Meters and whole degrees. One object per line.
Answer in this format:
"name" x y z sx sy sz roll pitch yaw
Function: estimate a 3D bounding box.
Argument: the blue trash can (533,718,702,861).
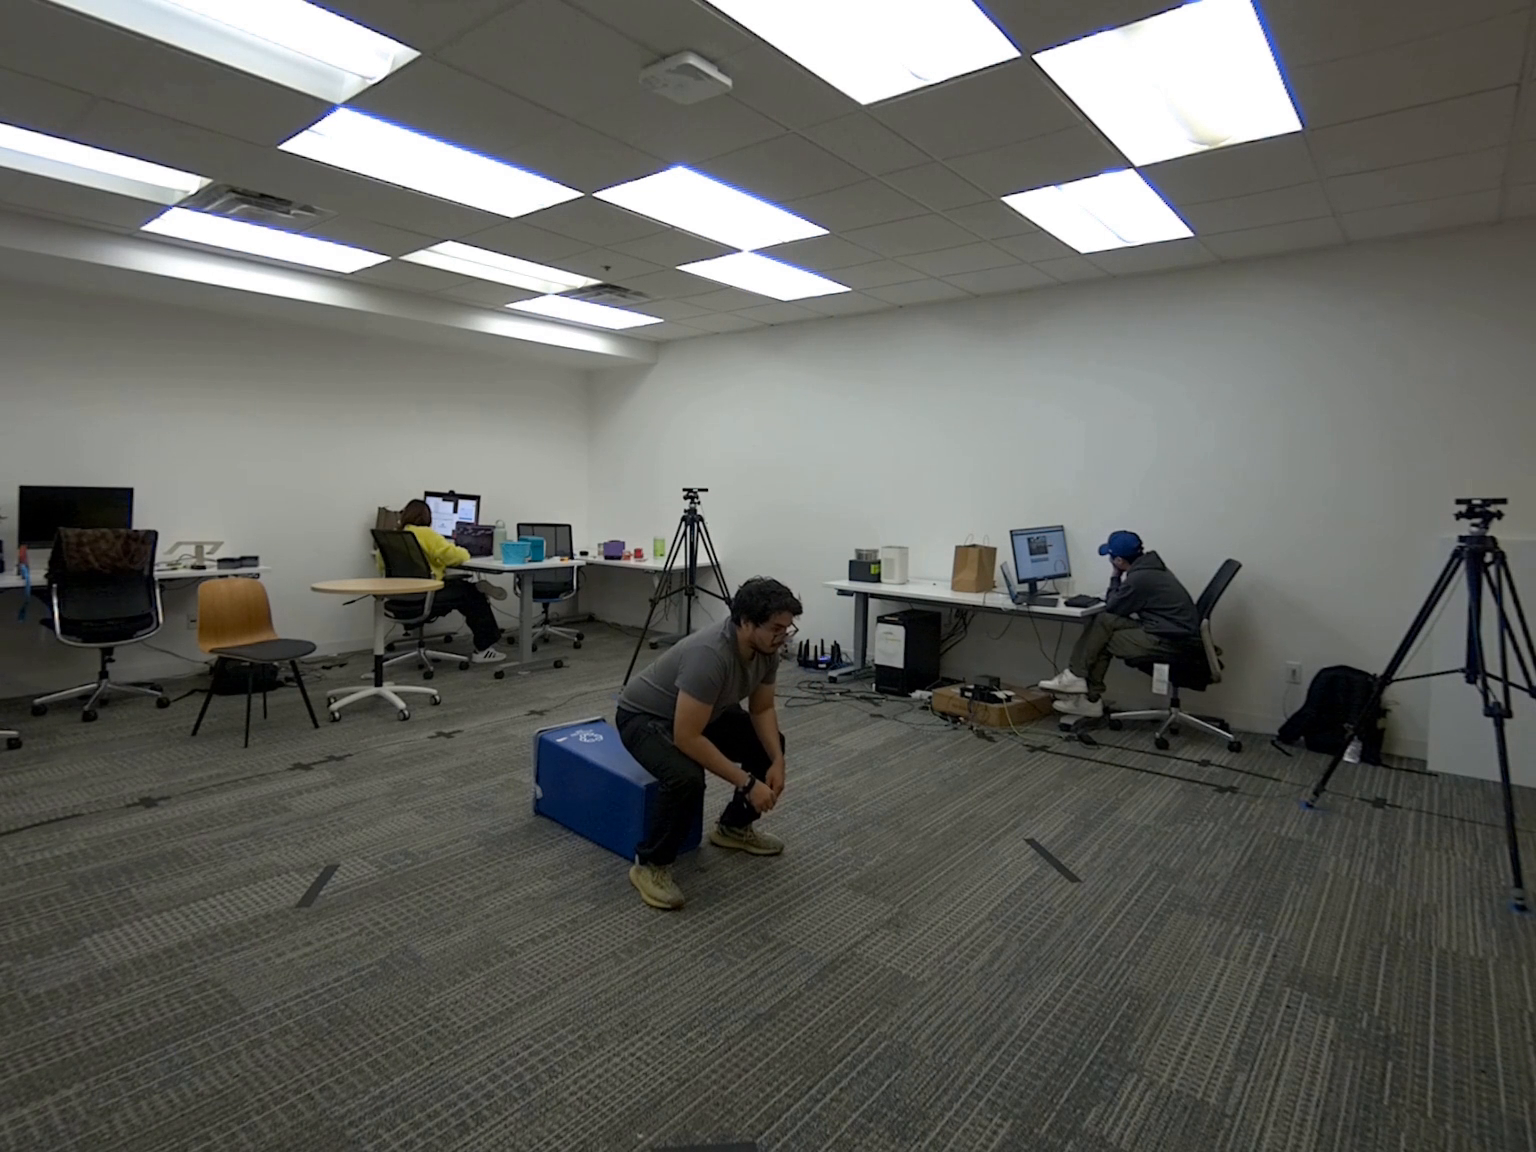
"blue trash can" -0.625 0.852 3.454 0.739 0.372 0.366 8 8 44
